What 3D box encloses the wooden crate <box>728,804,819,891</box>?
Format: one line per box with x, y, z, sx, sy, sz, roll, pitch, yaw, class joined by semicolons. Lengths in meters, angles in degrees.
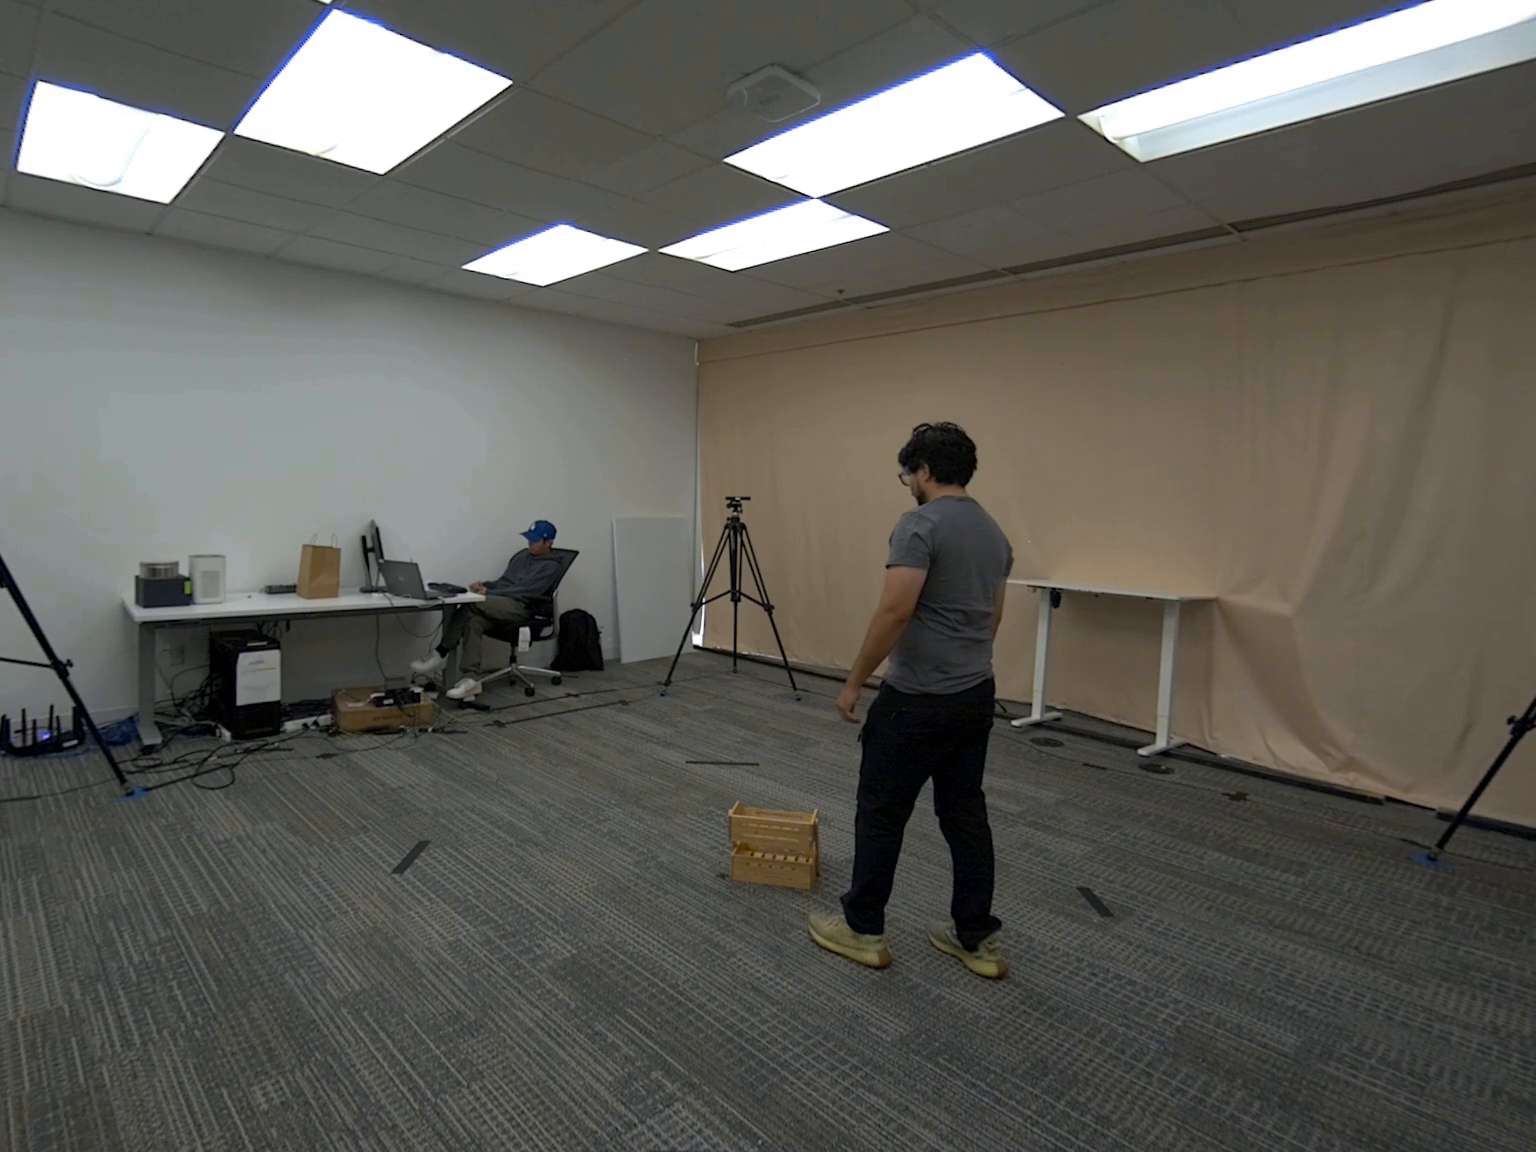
0.025;0.973;3.130;0.327;0.272;0.300;2;5;11;wooden crate
